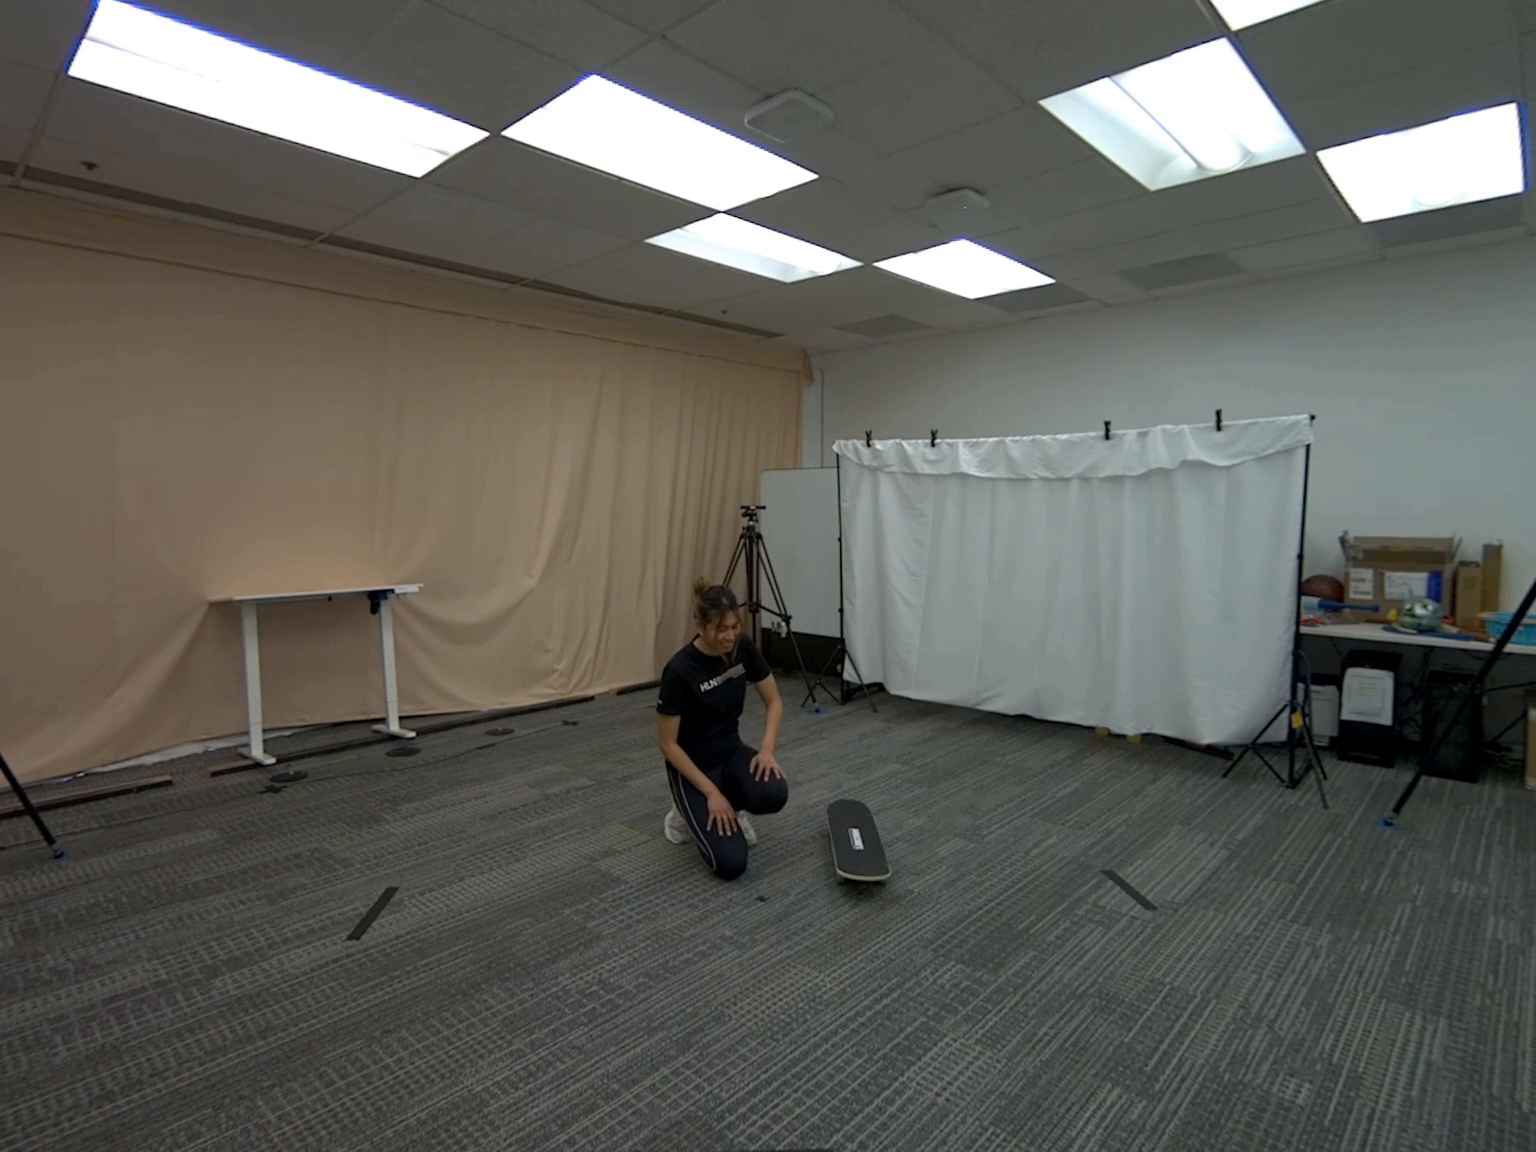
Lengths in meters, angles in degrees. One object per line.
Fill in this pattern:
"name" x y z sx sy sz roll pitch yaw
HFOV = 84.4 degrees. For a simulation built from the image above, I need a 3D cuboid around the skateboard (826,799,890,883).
"skateboard" 0.345 1.057 3.289 0.194 0.110 0.785 -1 5 1
